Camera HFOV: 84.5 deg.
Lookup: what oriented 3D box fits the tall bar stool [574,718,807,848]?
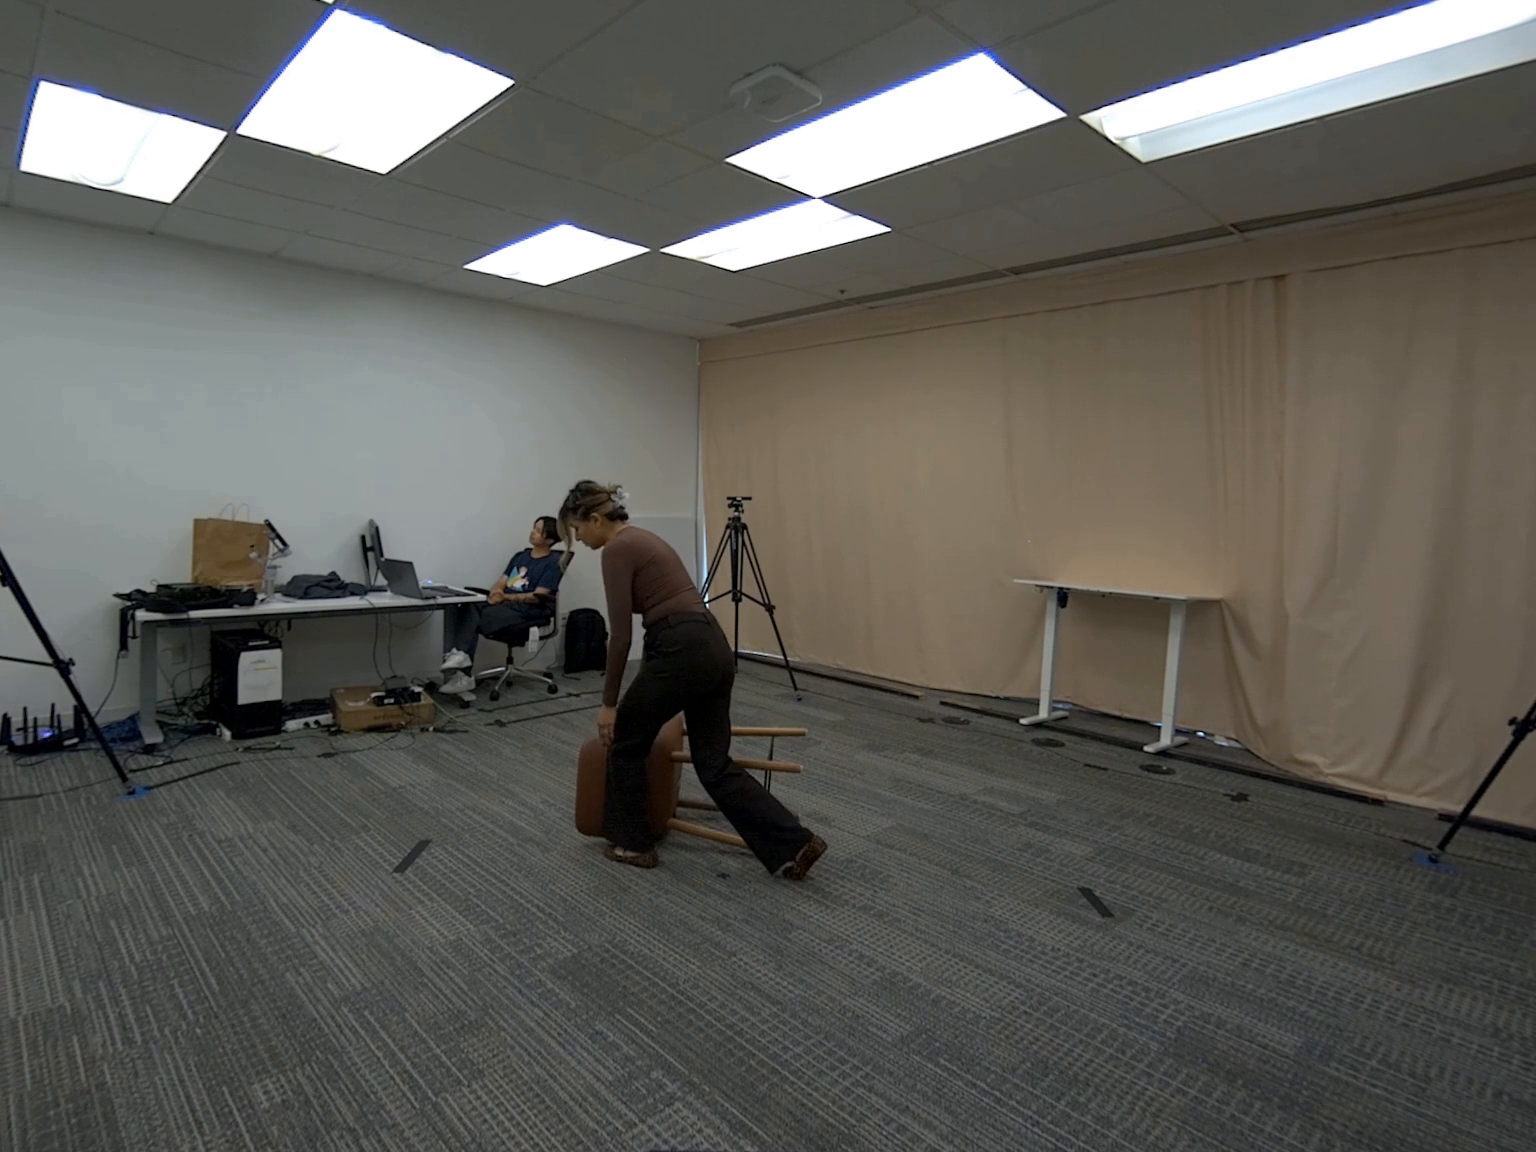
[{"bbox_3d":[-0.309,0.854,3.497,0.893,0.454,0.468,4,7,4],"label":"tall bar stool"}]
